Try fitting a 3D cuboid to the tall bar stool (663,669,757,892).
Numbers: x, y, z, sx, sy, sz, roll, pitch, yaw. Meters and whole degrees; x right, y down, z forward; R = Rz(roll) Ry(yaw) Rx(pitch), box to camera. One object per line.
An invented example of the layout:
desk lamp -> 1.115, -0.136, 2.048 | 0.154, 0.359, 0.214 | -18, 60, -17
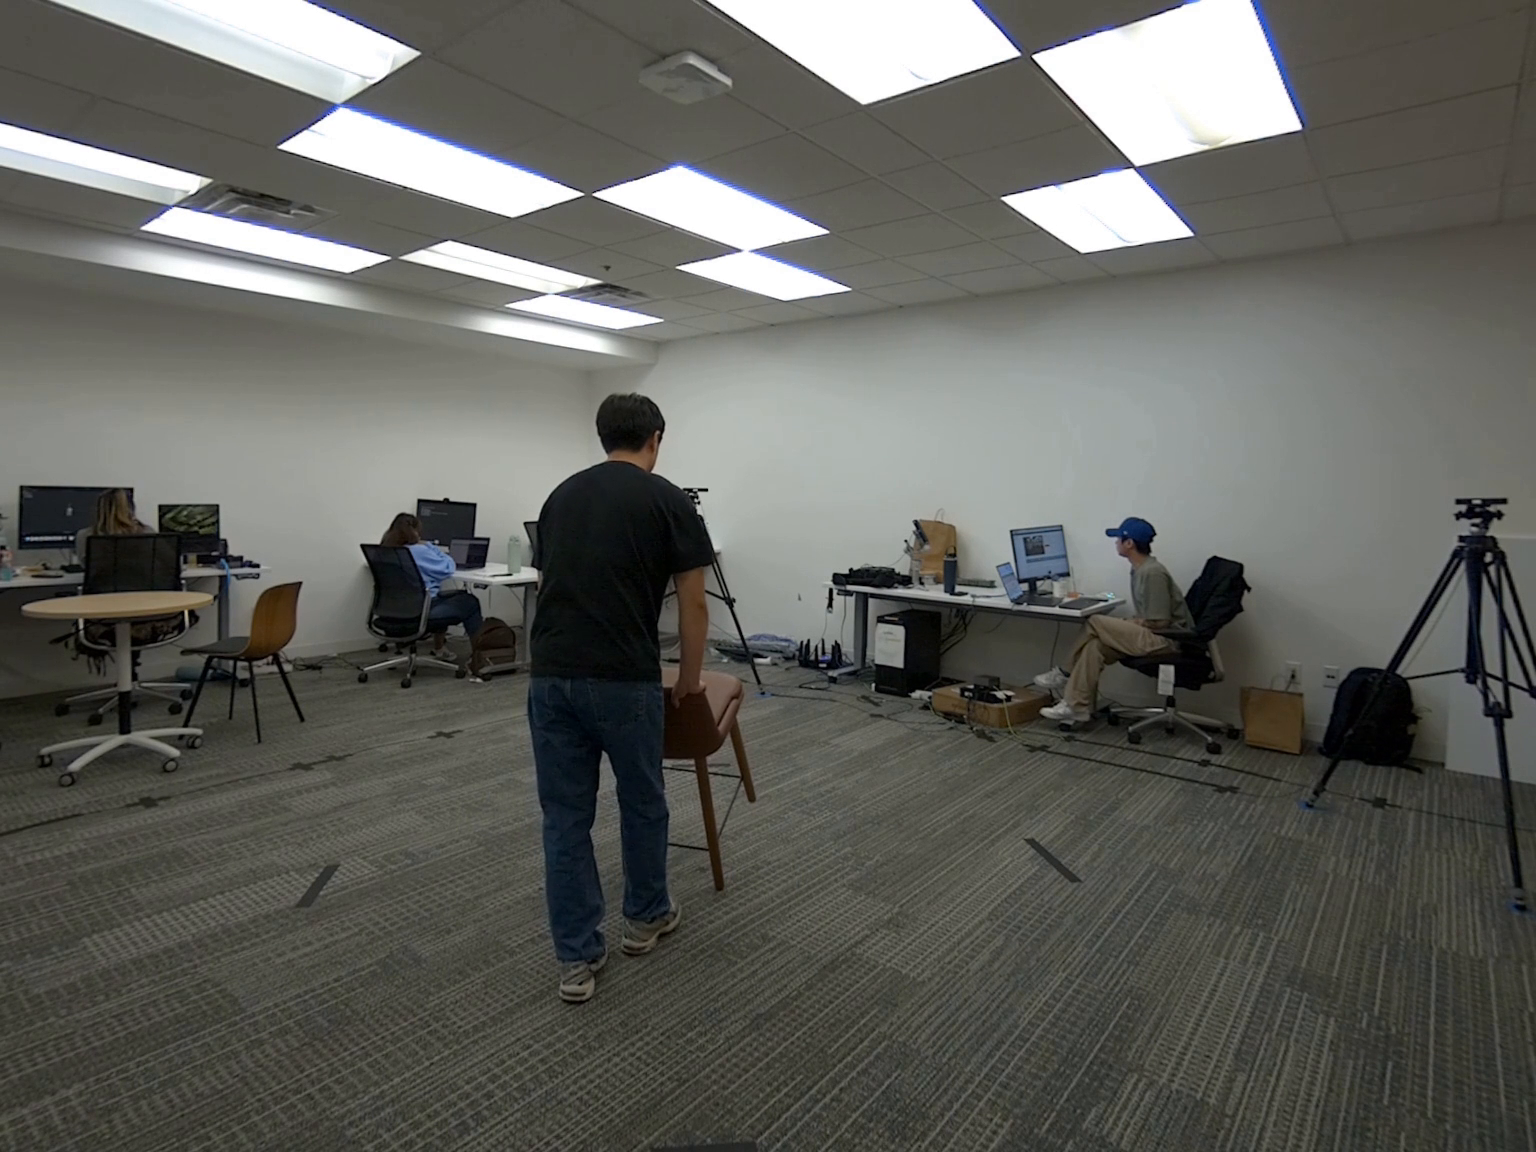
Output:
tall bar stool -> -0.337, 0.598, 2.992 | 0.465, 0.866, 0.472 | 3, 30, 16
